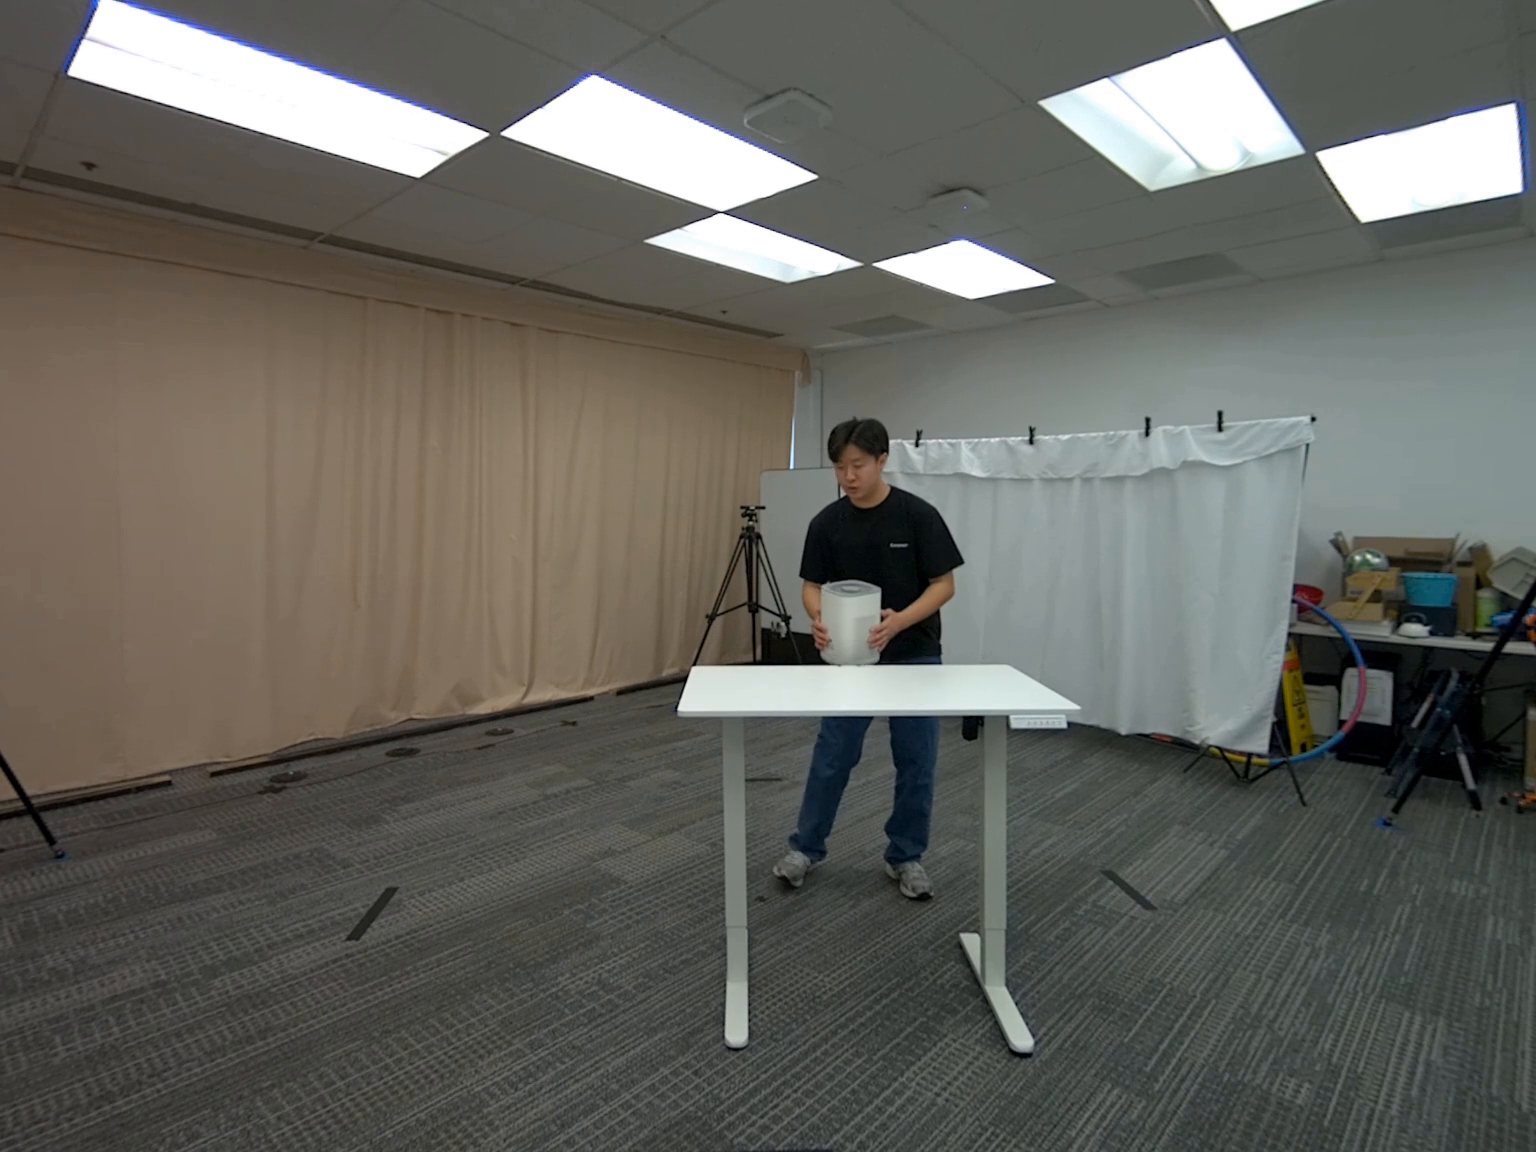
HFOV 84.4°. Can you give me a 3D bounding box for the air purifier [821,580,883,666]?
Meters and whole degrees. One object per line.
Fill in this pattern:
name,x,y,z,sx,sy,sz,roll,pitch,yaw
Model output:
air purifier,0.284,0.167,2.841,0.167,0.263,0.177,-8,15,-30
